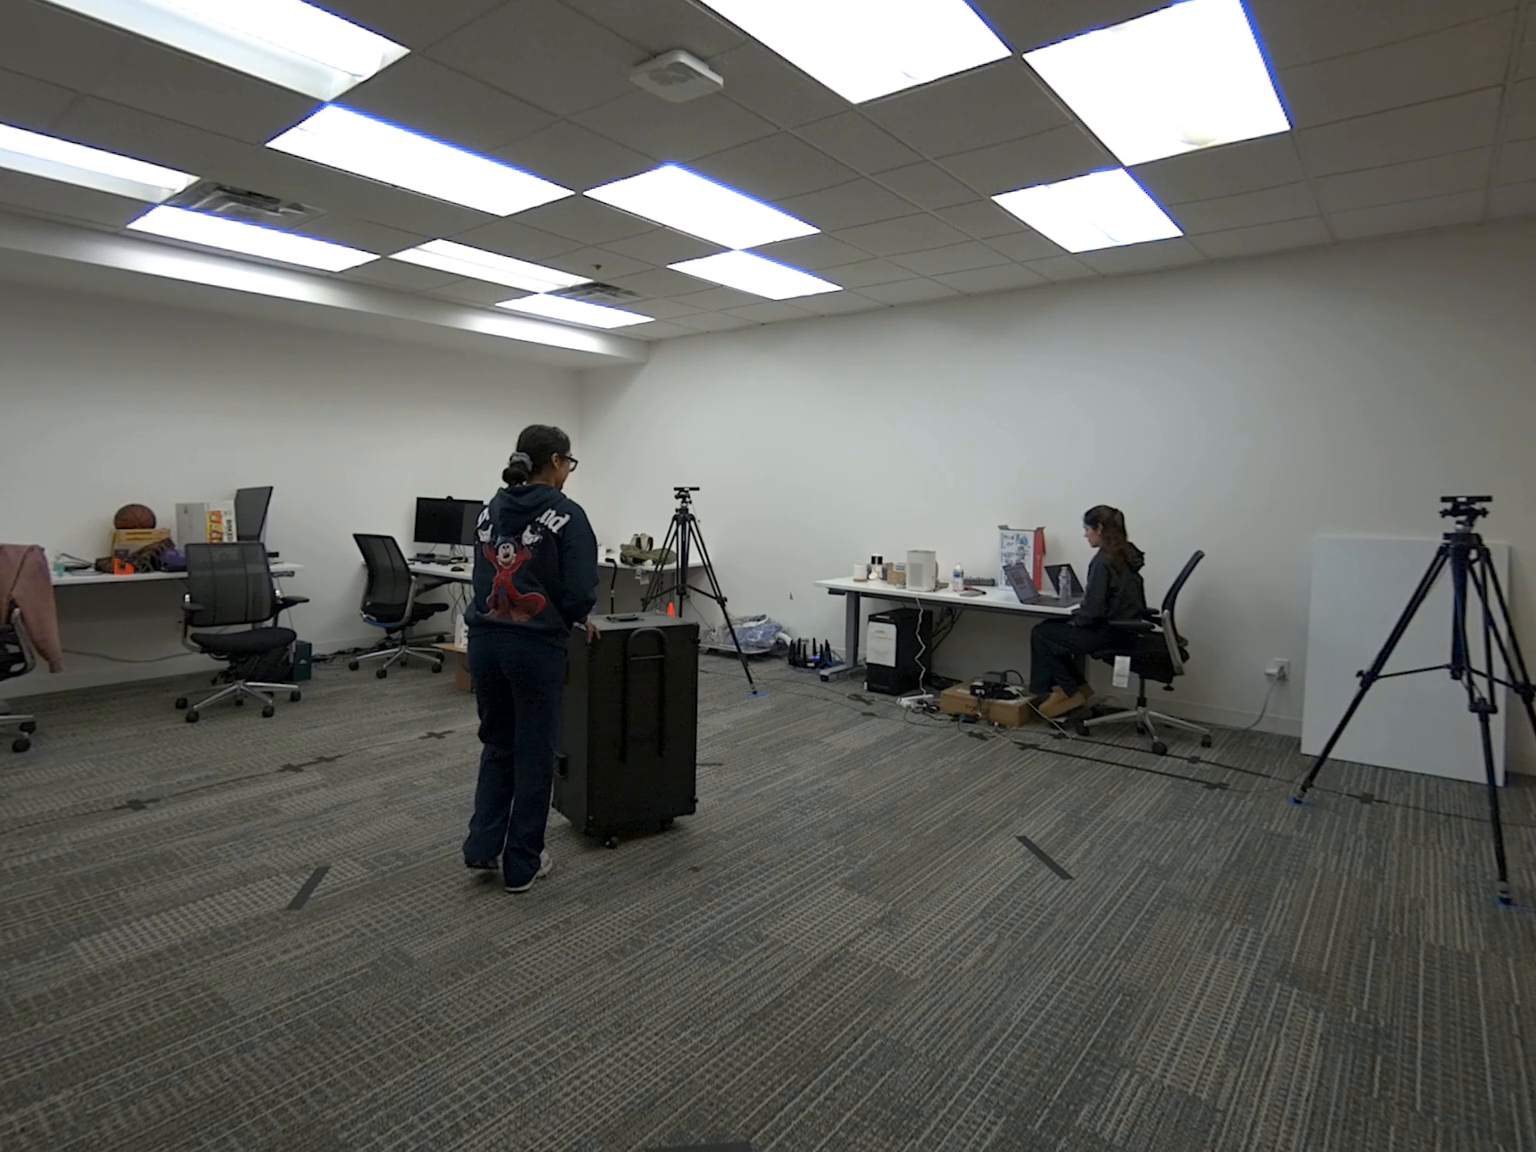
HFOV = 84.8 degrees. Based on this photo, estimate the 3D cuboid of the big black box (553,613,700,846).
[{"bbox_3d":[-0.585,0.600,3.454,0.506,0.859,0.409,-1,4,-33],"label":"big black box"}]
